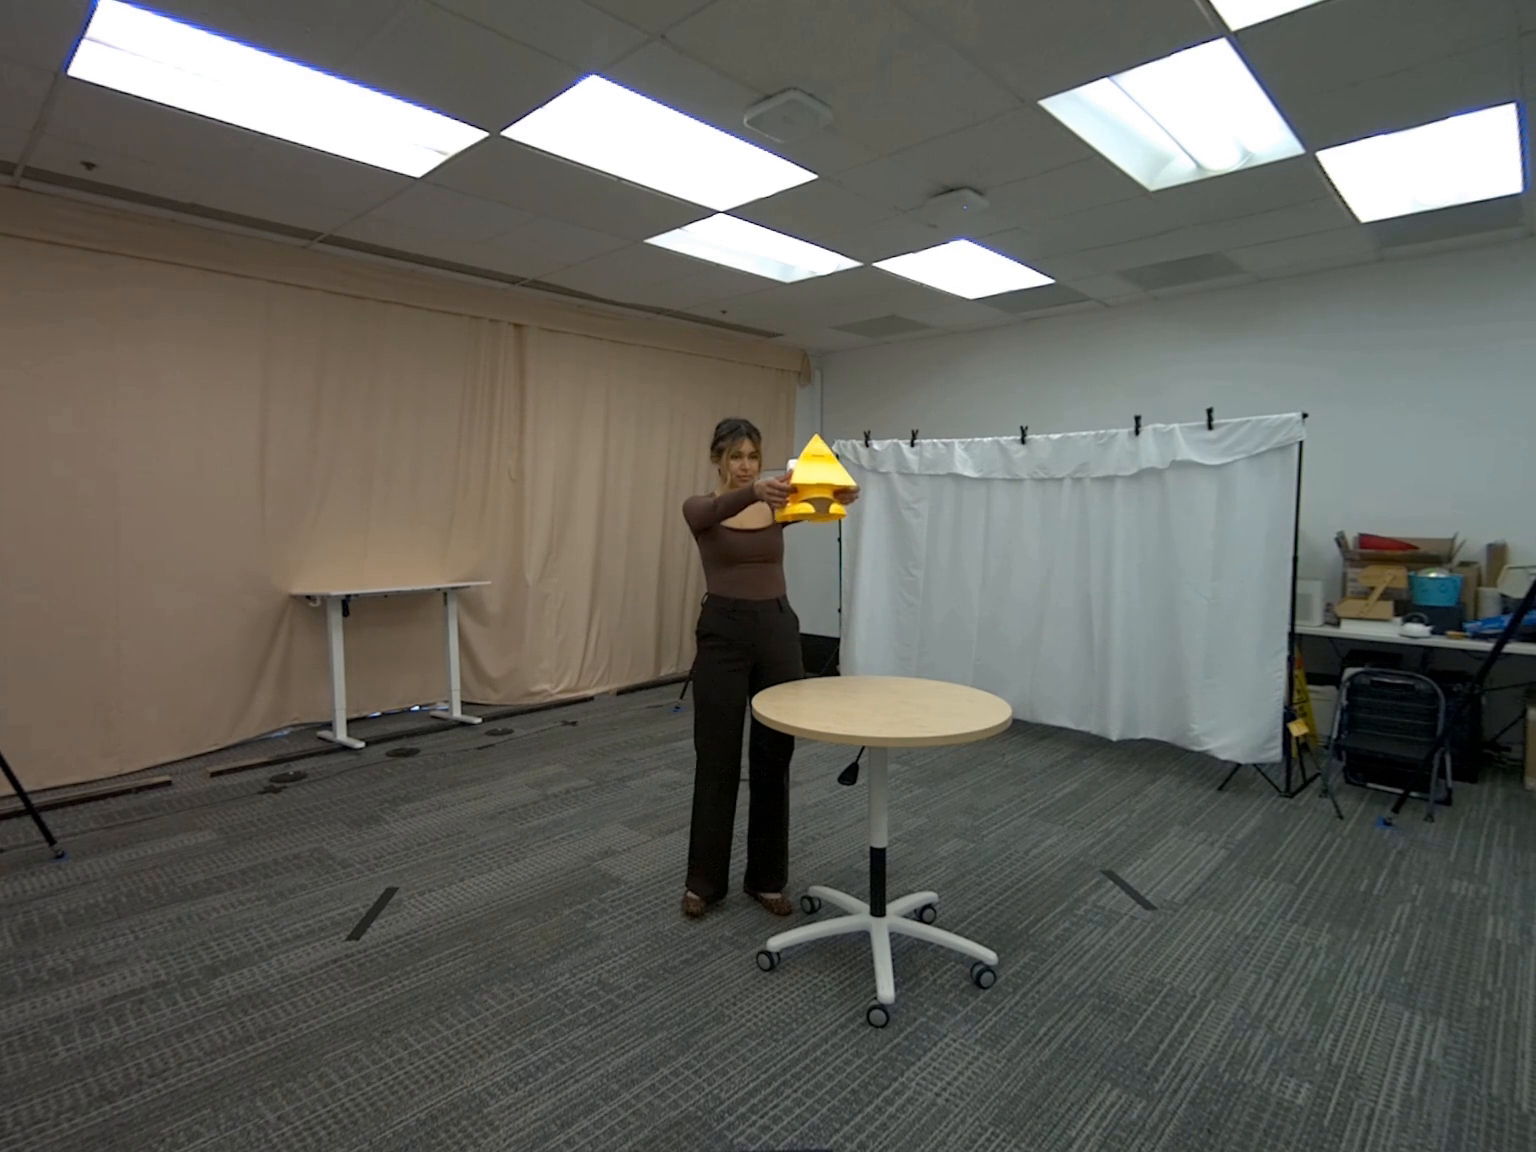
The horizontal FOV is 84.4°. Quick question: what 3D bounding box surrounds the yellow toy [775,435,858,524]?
[{"bbox_3d":[0.113,-0.284,2.443,0.200,0.232,0.196,0,-8,-23],"label":"yellow toy"}]
